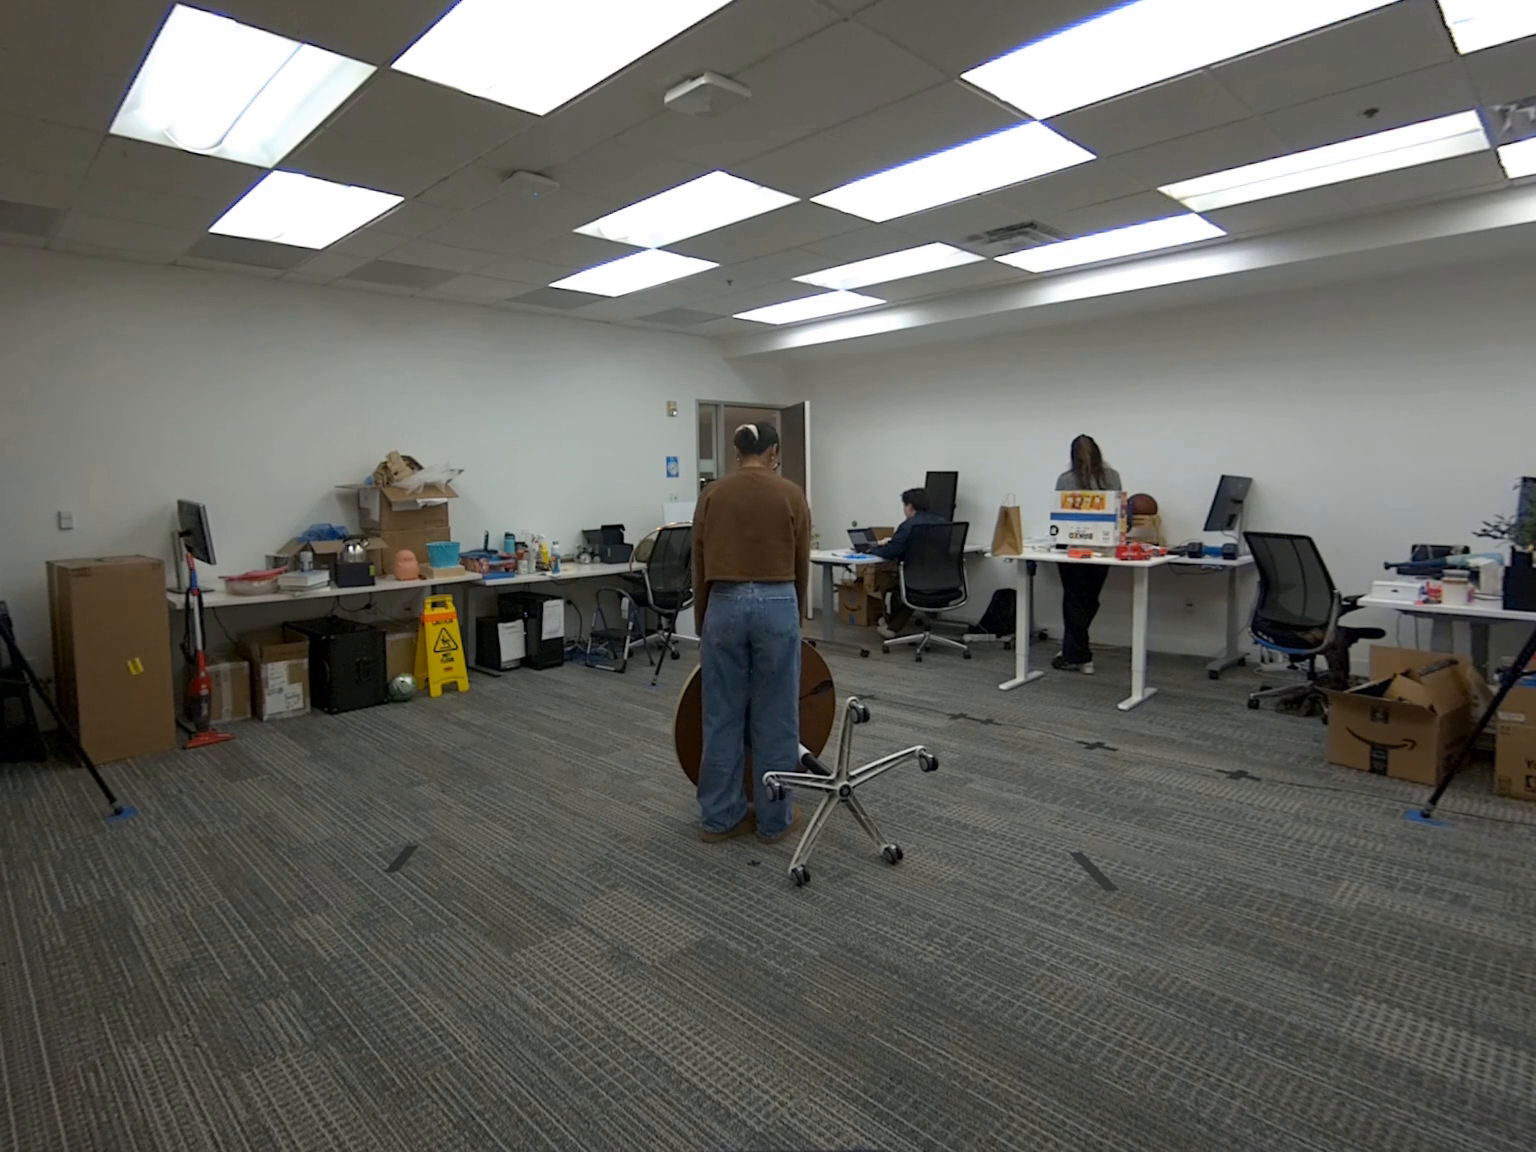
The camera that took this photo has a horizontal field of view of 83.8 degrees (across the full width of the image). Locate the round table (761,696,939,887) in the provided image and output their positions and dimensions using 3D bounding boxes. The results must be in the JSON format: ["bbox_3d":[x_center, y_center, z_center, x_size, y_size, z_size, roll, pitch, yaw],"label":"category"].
[{"bbox_3d":[0.134,0.685,3.300,0.748,0.756,0.819,-3,13,-26],"label":"round table"}]
